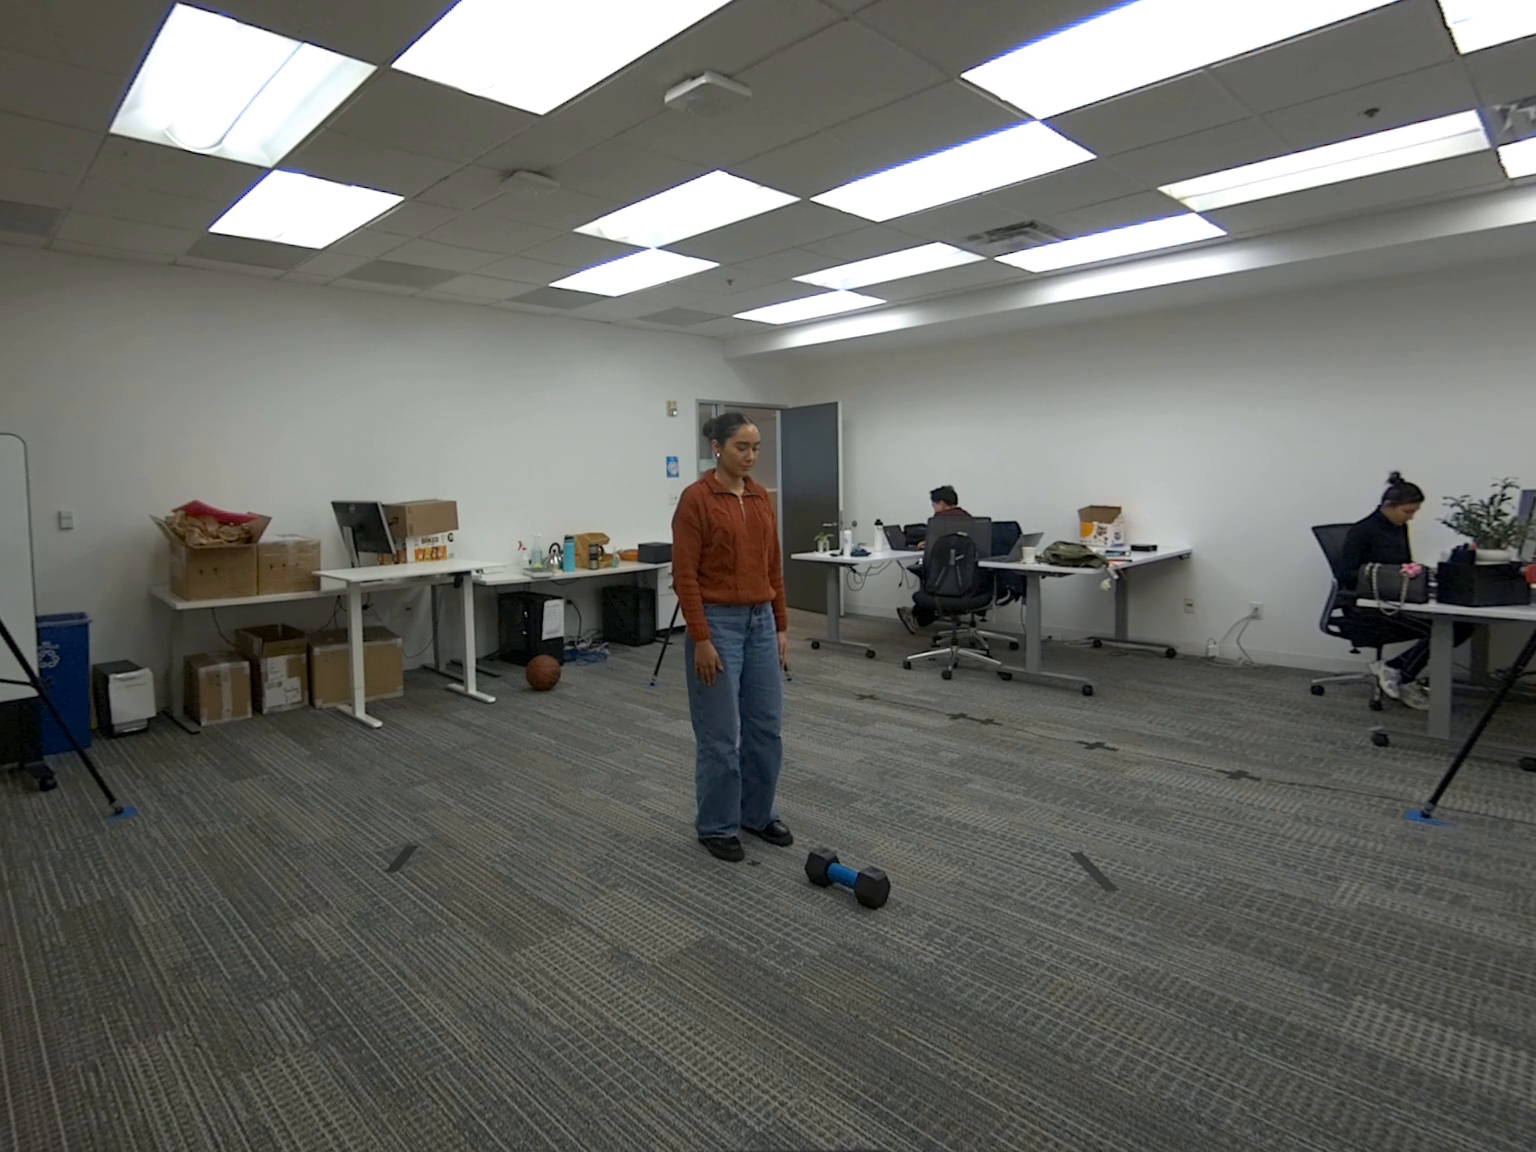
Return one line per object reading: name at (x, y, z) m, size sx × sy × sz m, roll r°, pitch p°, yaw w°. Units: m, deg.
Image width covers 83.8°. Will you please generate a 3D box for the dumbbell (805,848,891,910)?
dumbbell at (0.269, 1.012, 2.871) m, size 0.120 × 0.108 × 0.303 m, roll -5°, pitch 7°, yaw -44°
